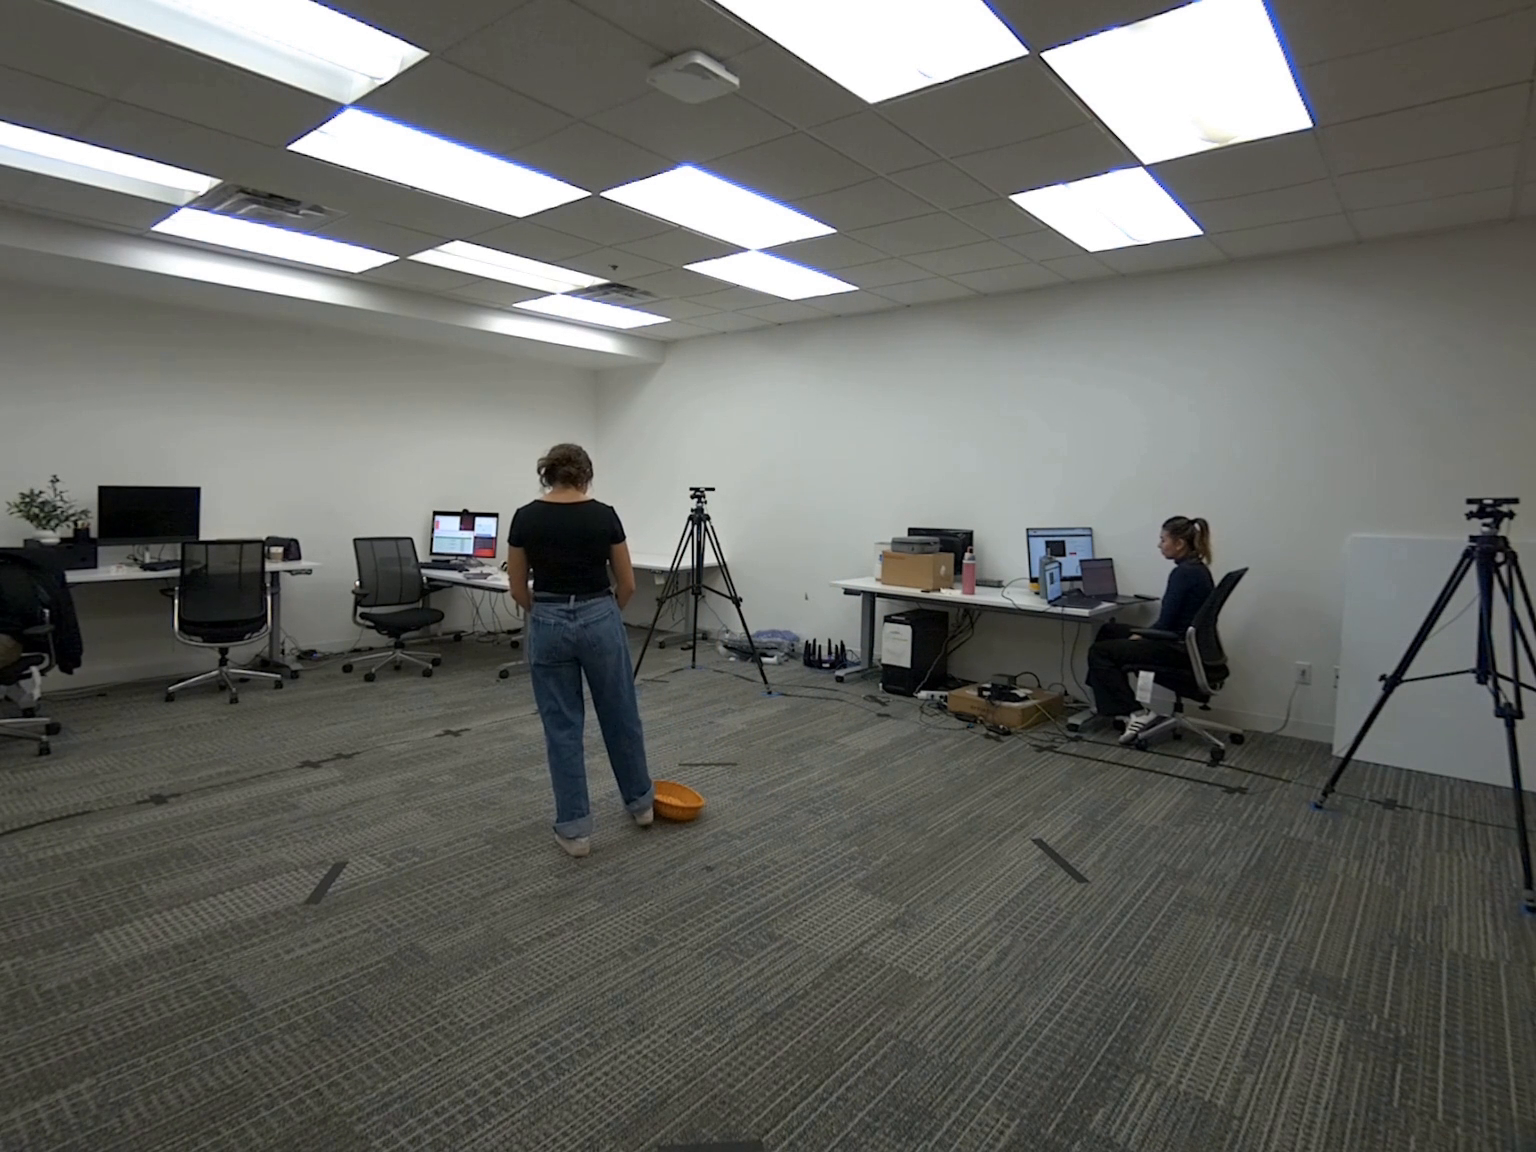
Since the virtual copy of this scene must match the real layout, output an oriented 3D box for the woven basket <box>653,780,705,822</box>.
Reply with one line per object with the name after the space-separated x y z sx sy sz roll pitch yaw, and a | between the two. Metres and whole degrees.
-0.422 0.960 3.649 0.246 0.073 0.359 9 1 -24 | woven basket
